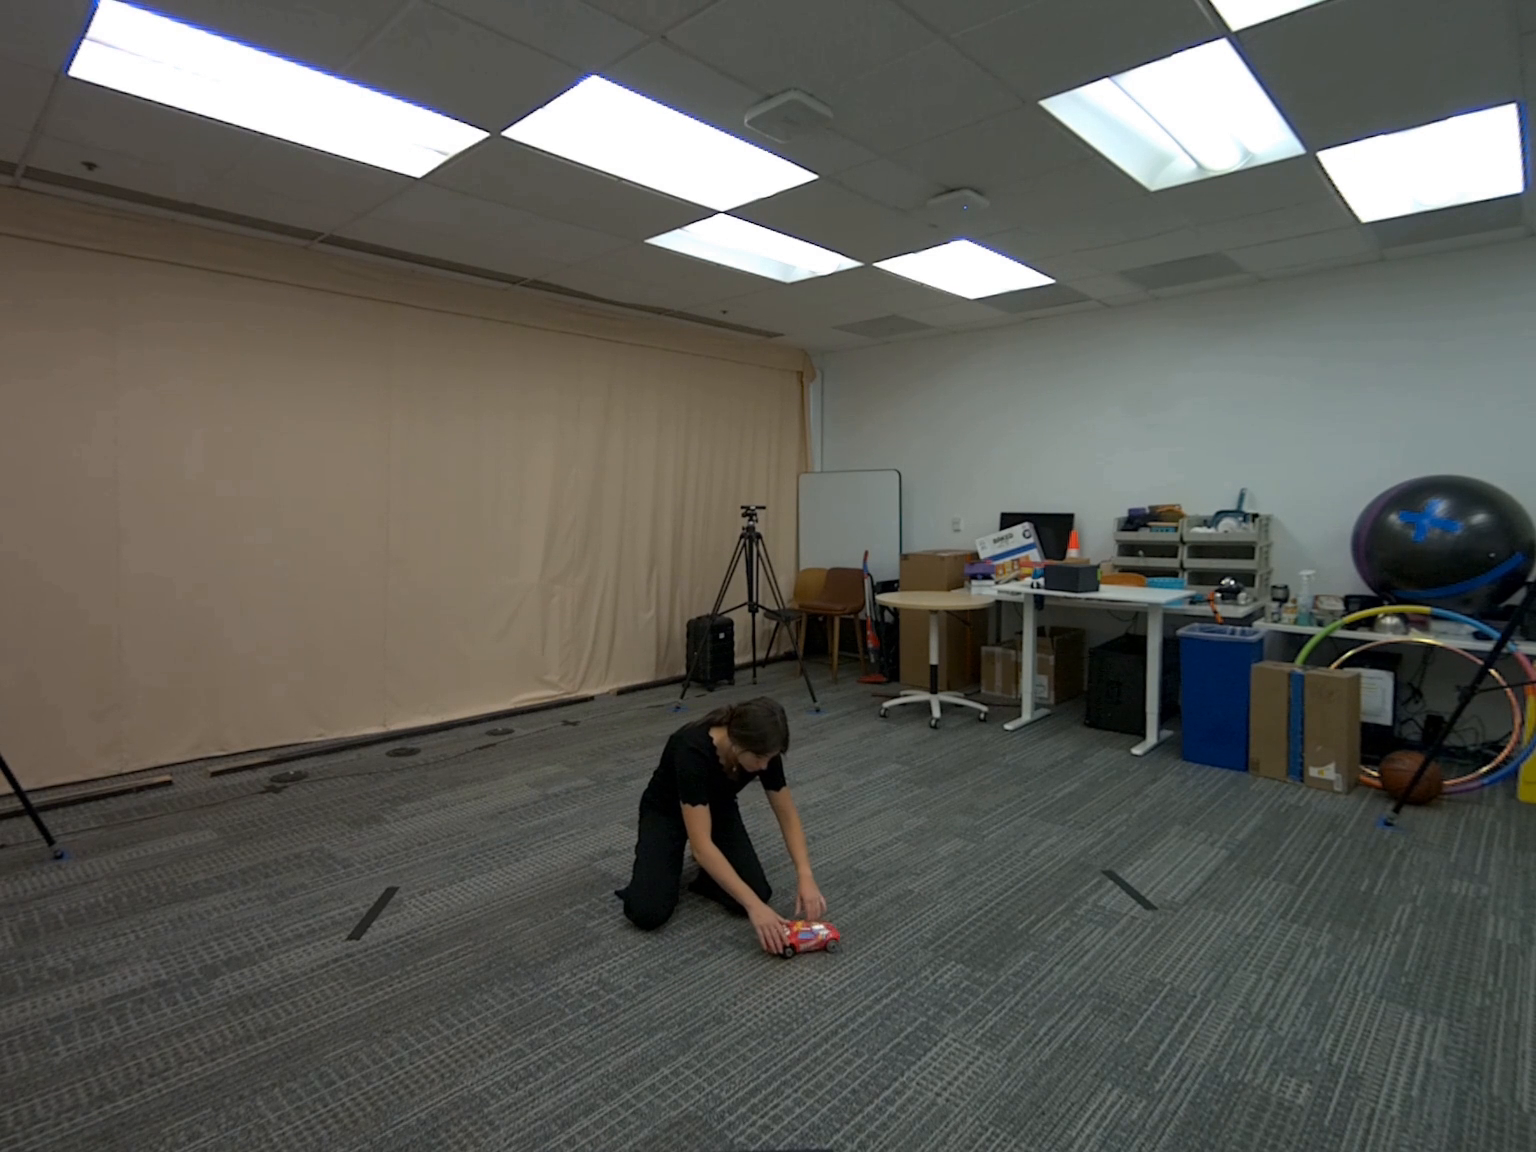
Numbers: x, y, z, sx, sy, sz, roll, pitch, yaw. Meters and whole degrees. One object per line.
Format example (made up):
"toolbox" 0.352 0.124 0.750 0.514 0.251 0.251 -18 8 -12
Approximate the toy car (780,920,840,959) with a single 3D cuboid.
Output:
"toy car" 0.093 1.142 2.649 0.250 0.083 0.133 9 2 -17
